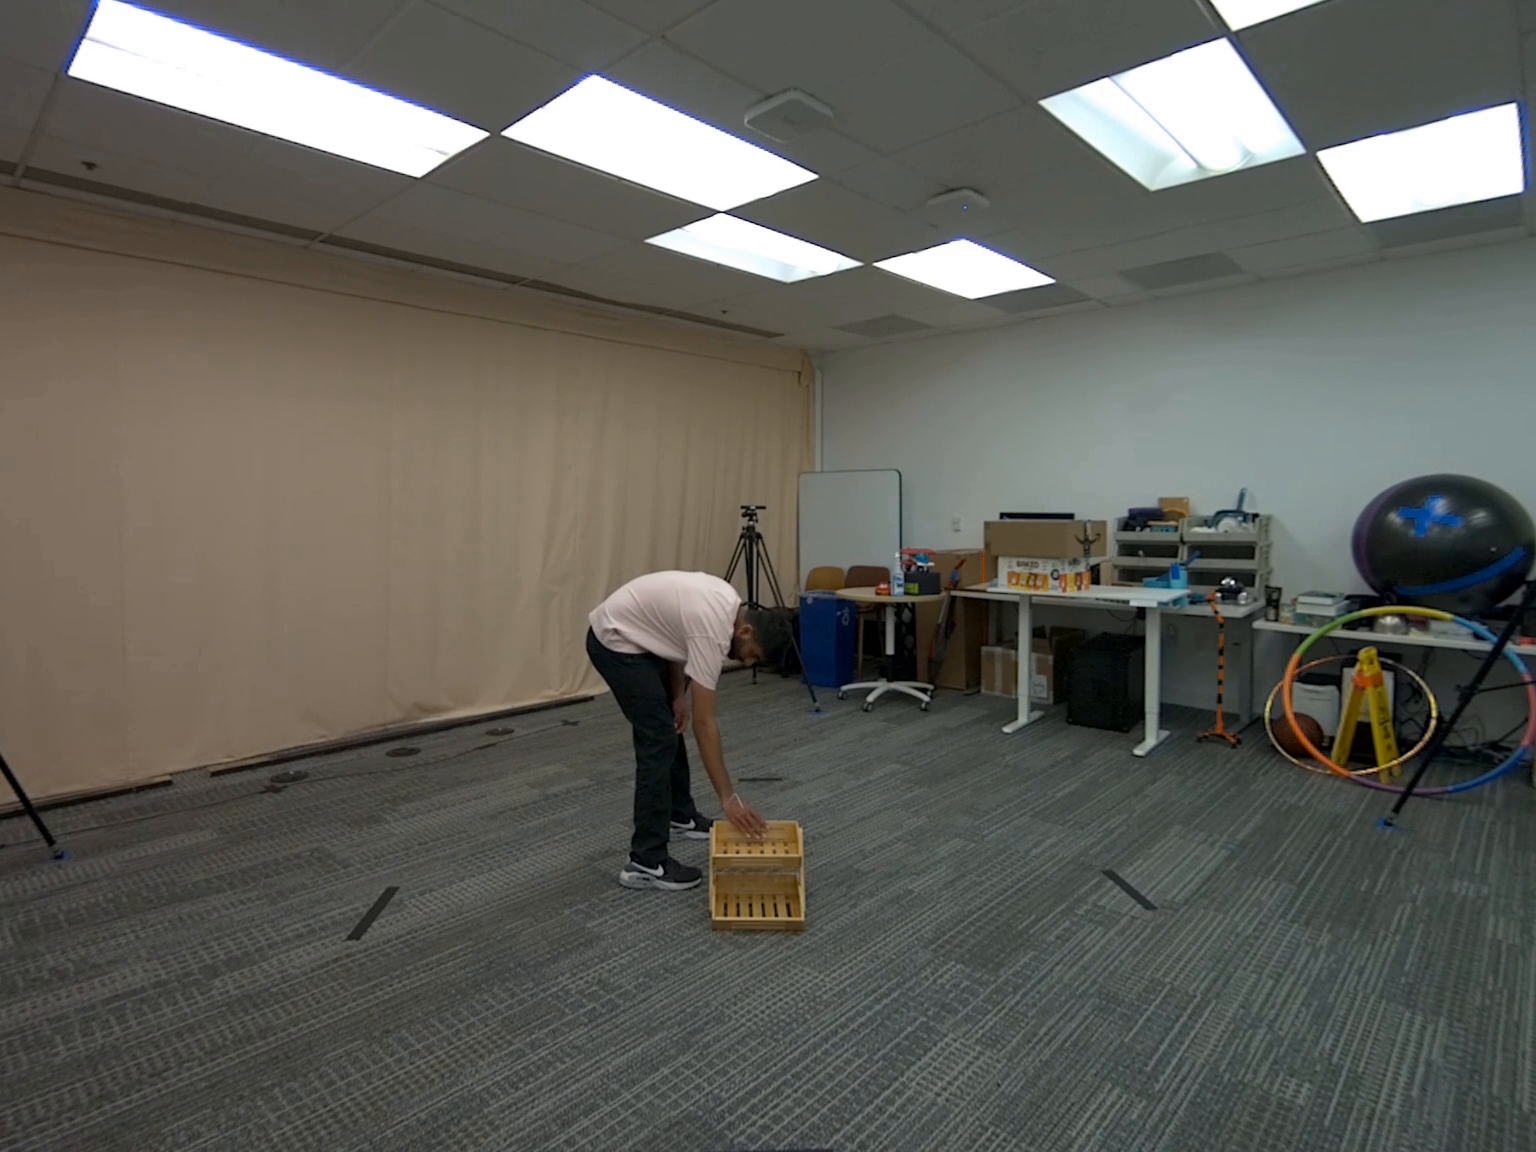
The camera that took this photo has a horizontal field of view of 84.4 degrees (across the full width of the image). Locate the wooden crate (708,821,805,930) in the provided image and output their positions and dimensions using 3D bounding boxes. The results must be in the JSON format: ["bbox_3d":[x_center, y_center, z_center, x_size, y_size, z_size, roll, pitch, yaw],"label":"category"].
[{"bbox_3d":[-0.032,1.021,2.876,0.324,0.273,0.302,0,3,-1],"label":"wooden crate"}]
